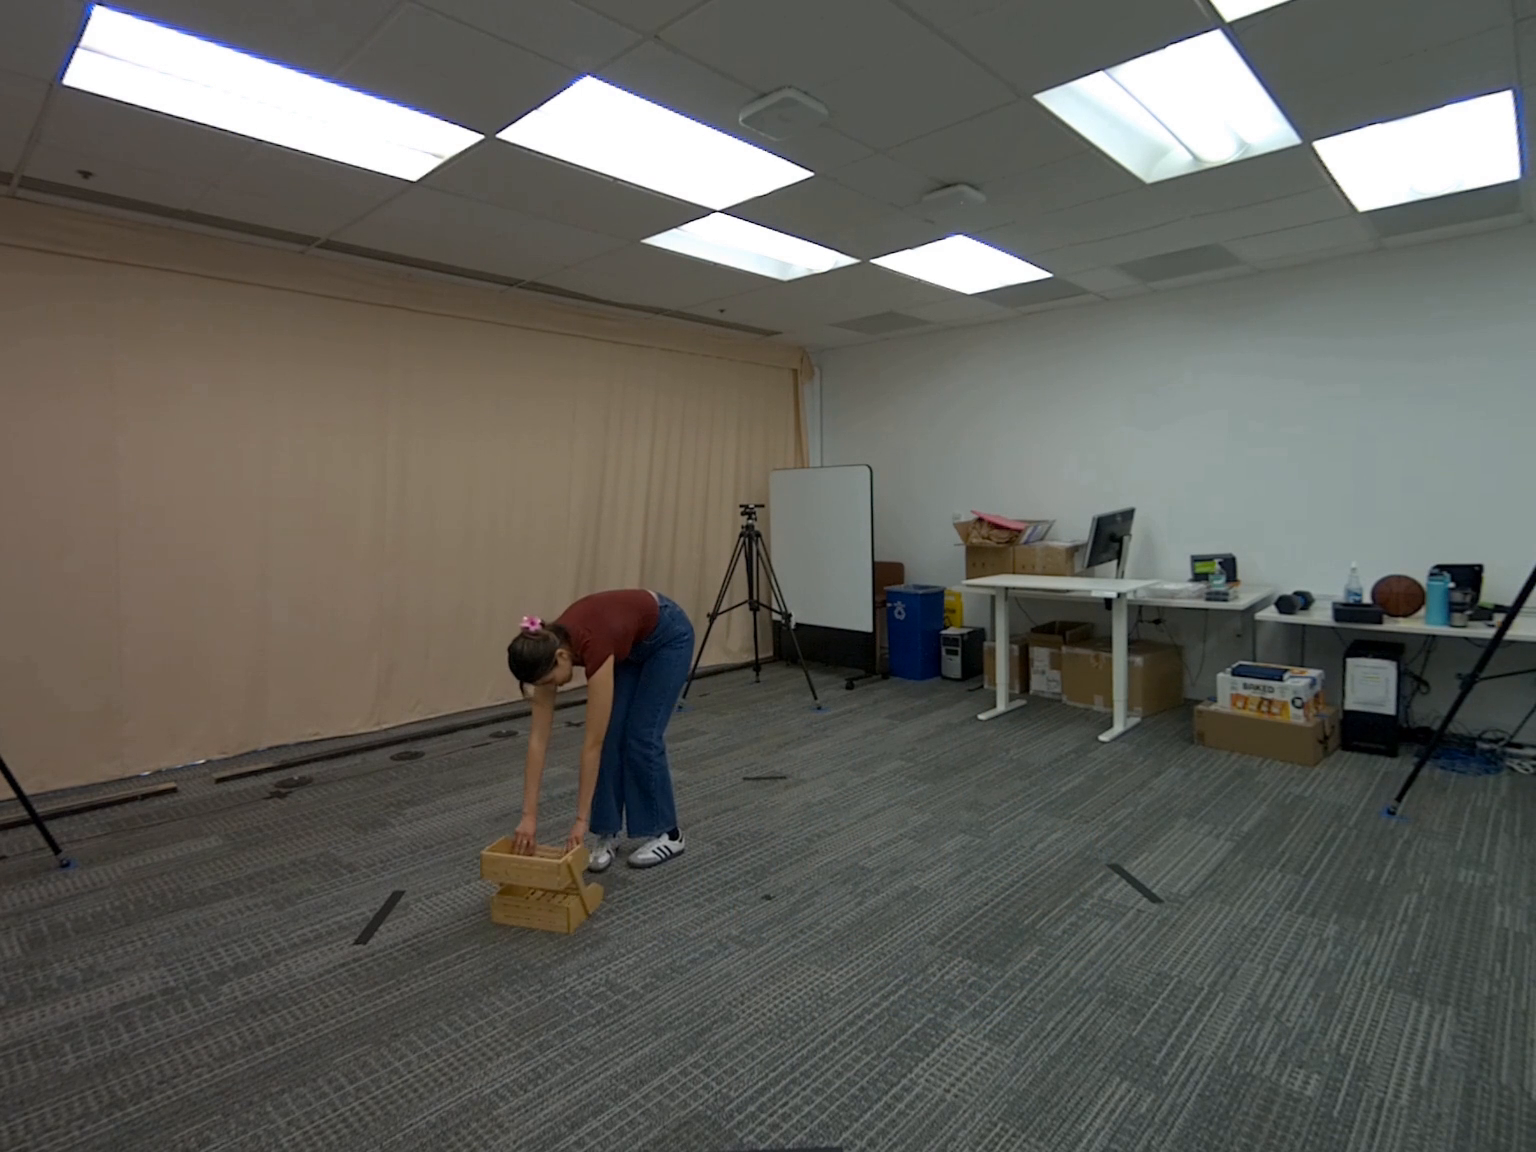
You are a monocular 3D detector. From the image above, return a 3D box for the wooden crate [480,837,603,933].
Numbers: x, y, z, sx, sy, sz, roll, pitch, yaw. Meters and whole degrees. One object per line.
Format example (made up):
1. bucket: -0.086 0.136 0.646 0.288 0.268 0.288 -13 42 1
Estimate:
1. wooden crate: -0.764 1.028 2.893 0.330 0.272 0.297 0 5 16
